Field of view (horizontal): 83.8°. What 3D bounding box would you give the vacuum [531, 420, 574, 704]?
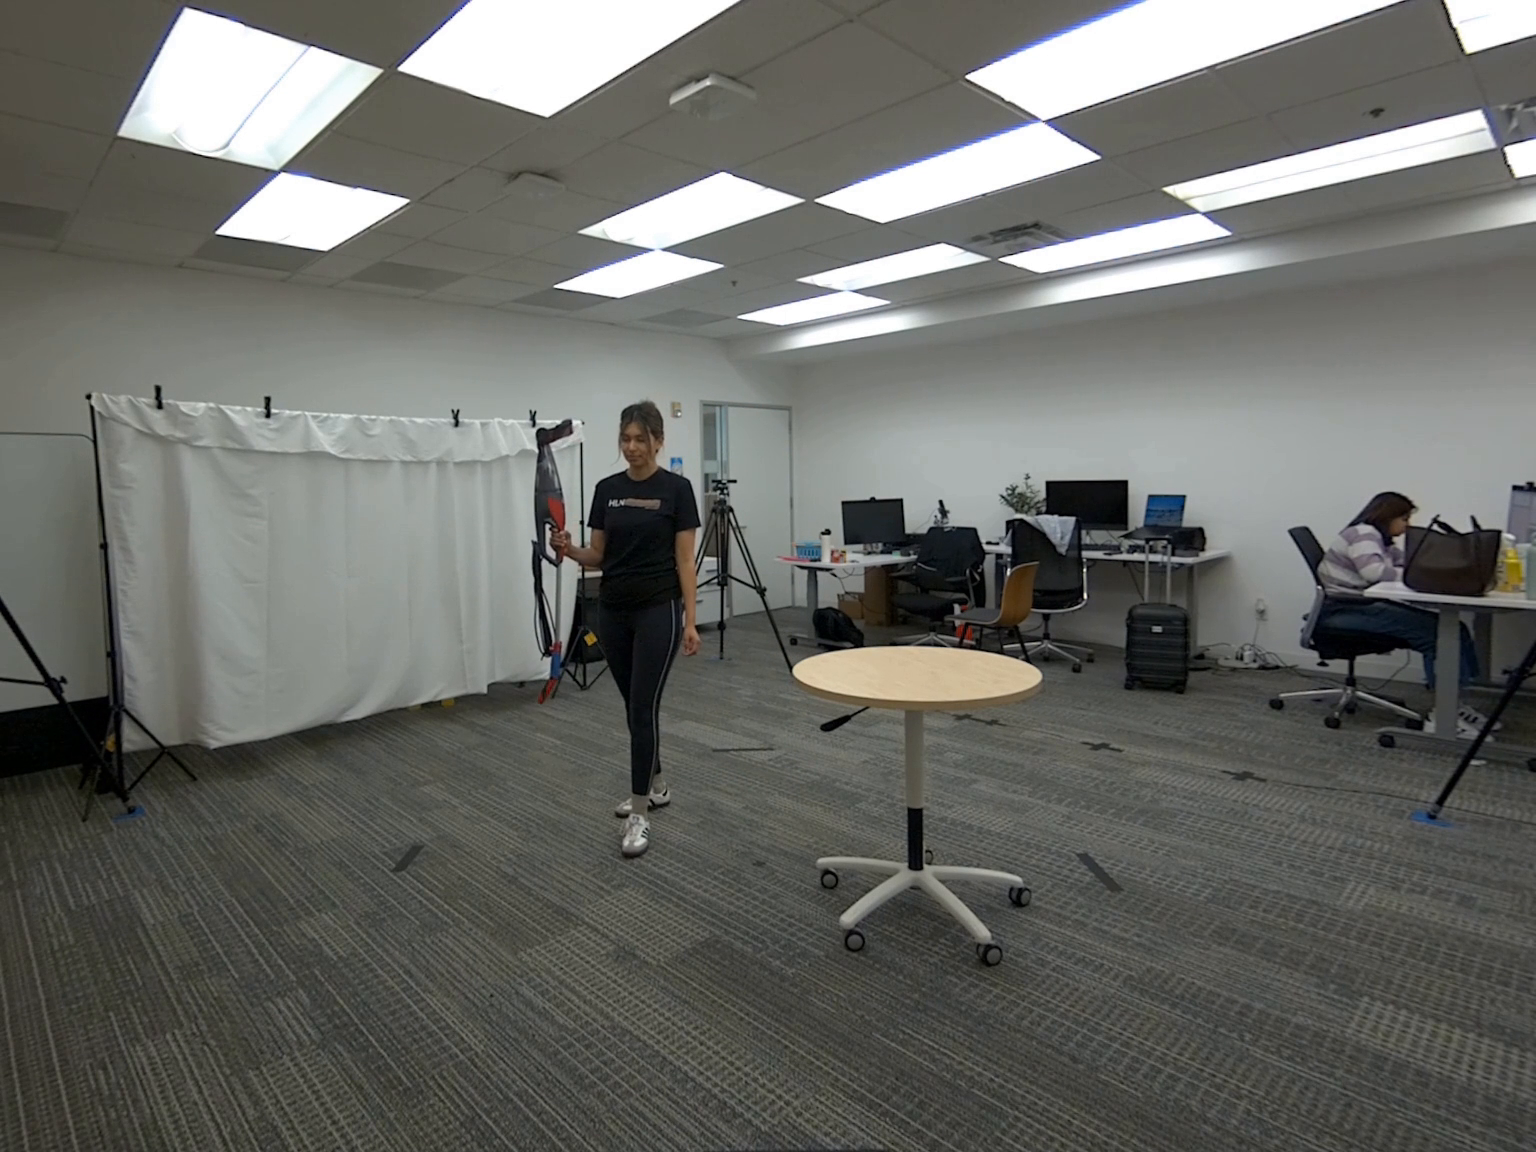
[{"bbox_3d":[-0.852,-0.043,3.267,0.143,1.052,0.254,3,-3,-9],"label":"vacuum"}]
